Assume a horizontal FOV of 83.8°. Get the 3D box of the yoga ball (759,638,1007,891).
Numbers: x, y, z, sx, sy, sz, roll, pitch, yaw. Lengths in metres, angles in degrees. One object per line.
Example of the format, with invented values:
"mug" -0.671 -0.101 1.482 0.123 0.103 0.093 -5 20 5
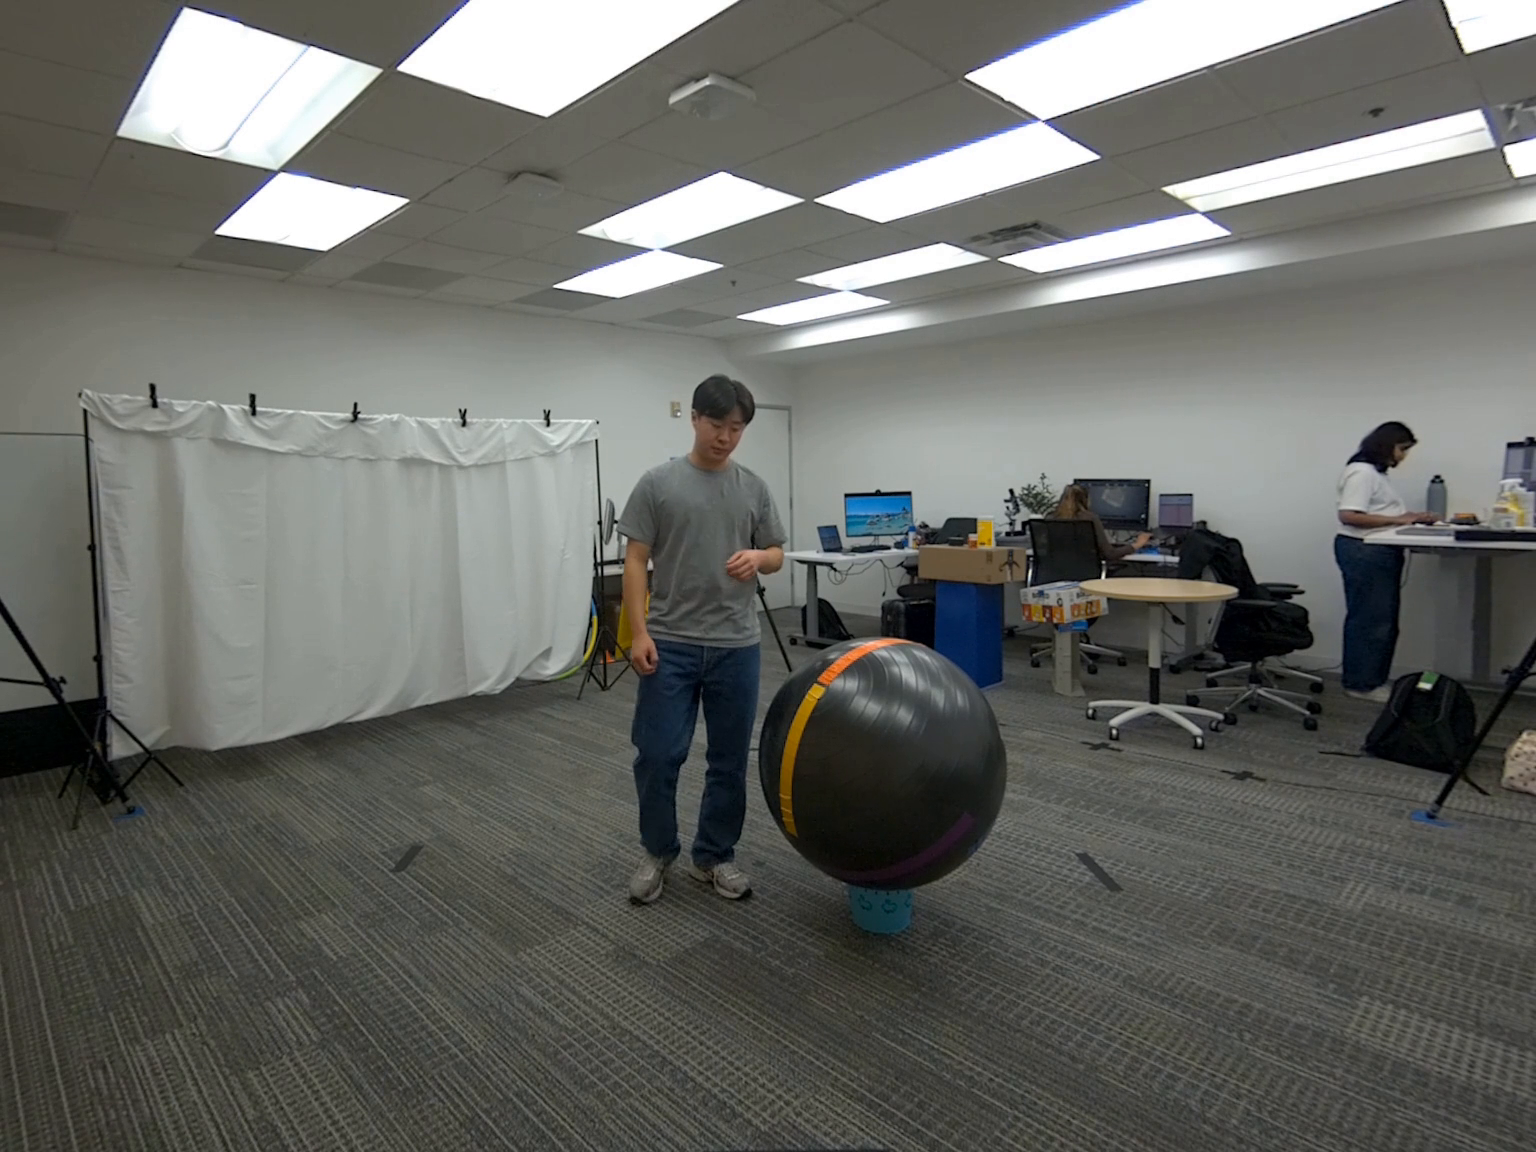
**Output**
"yoga ball" 0.353 0.578 2.667 0.757 0.755 0.762 -1 5 -2
